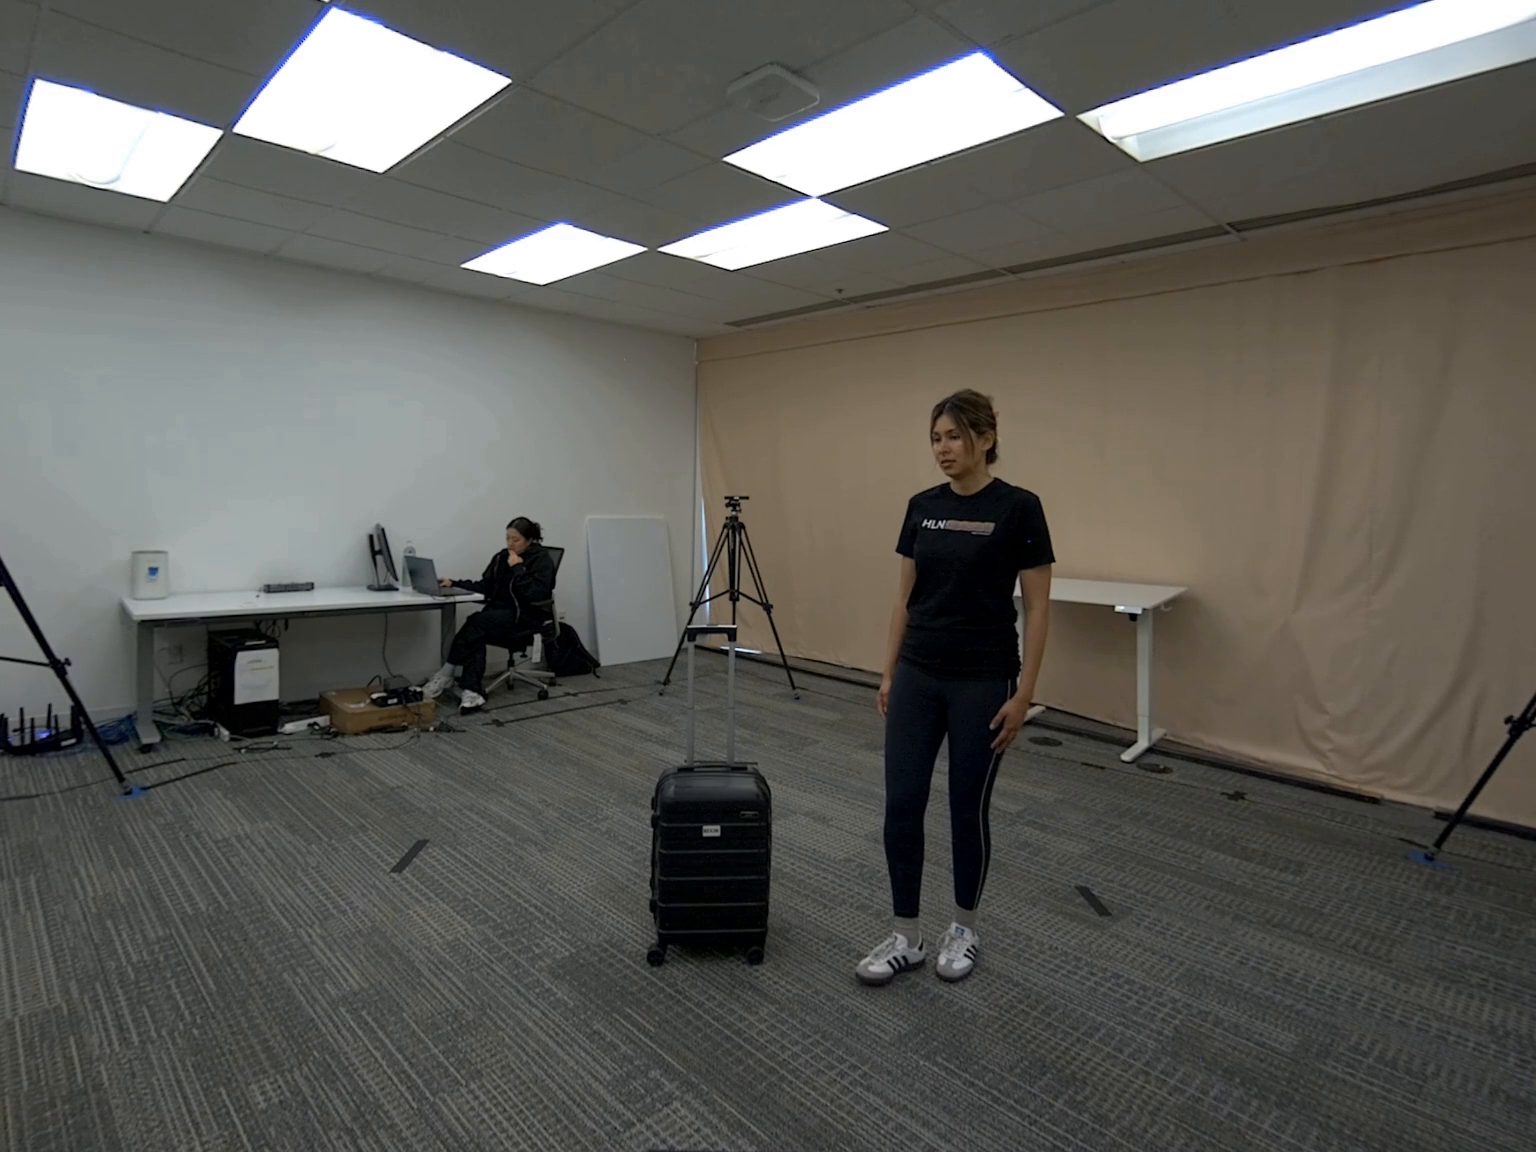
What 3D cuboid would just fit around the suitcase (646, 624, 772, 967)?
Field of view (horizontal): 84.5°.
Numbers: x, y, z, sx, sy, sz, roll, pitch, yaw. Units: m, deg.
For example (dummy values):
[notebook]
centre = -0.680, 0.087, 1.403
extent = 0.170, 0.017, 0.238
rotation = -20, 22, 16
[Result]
[suitcase]
centre = -0.178, 0.678, 2.592
extent = 0.383, 0.974, 0.259
rotation = 0, 5, -4
